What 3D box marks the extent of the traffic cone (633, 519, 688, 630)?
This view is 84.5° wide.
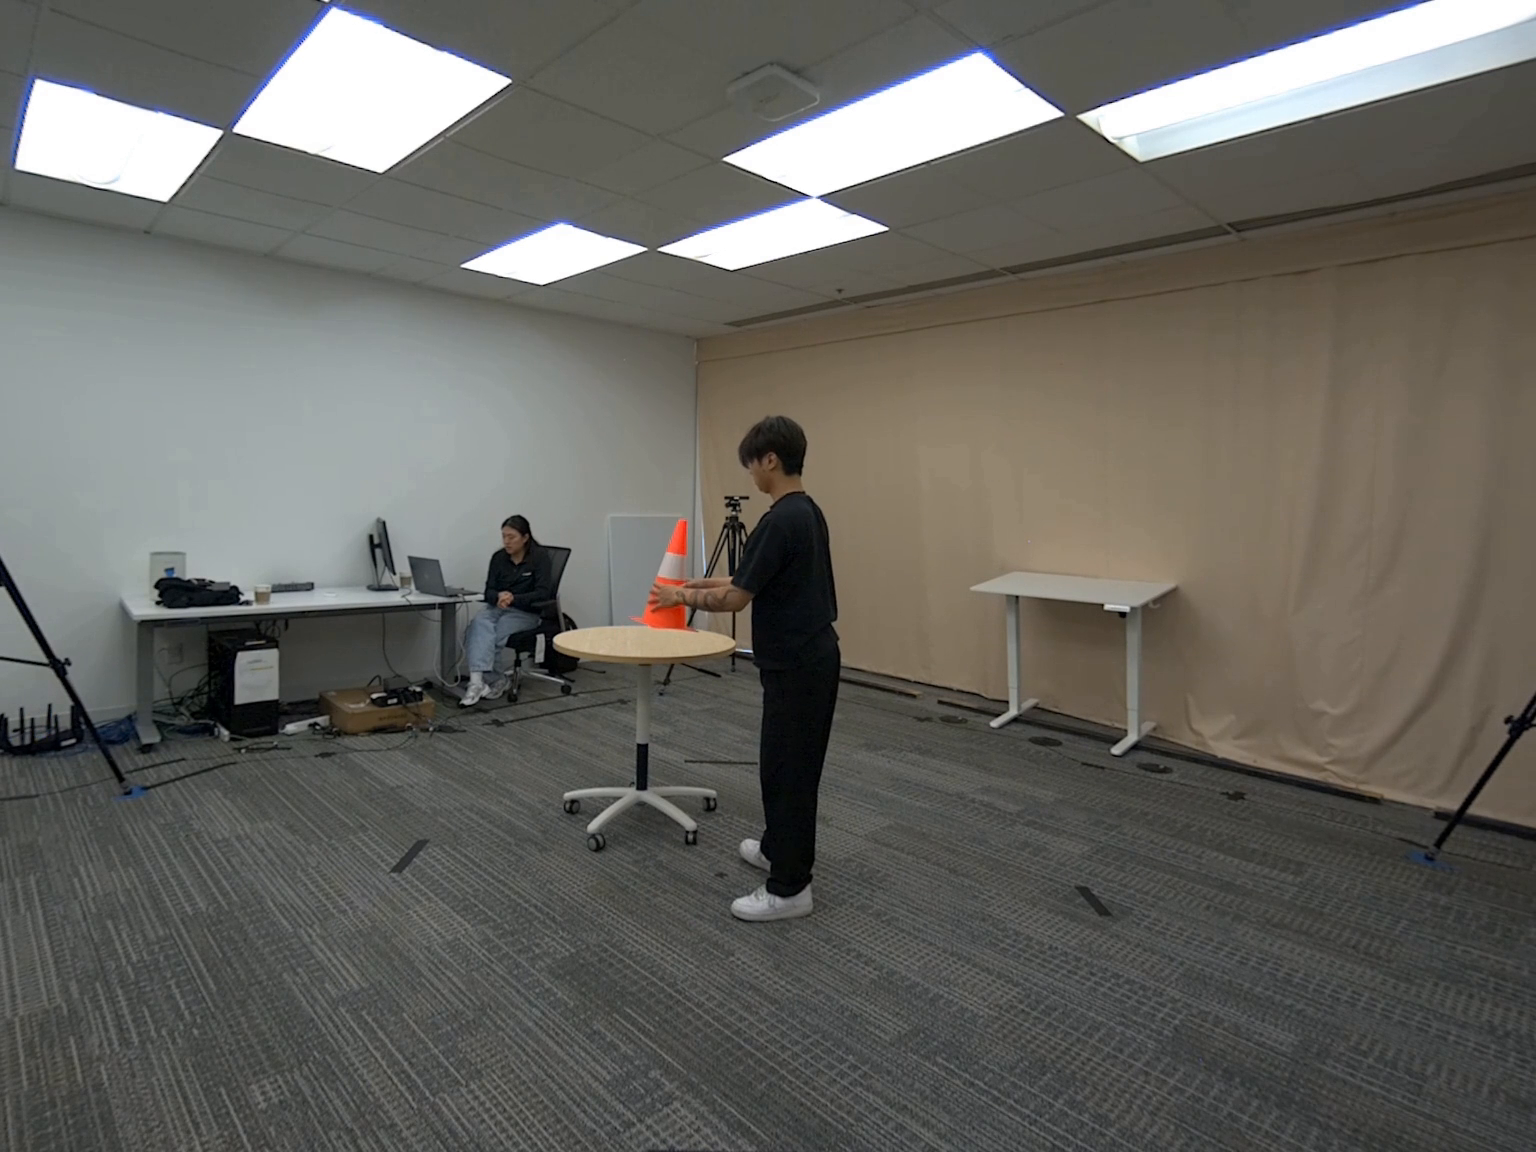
[{"bbox_3d":[-0.347,-0.011,3.008,0.210,0.383,0.198,11,0,31],"label":"traffic cone"}]
